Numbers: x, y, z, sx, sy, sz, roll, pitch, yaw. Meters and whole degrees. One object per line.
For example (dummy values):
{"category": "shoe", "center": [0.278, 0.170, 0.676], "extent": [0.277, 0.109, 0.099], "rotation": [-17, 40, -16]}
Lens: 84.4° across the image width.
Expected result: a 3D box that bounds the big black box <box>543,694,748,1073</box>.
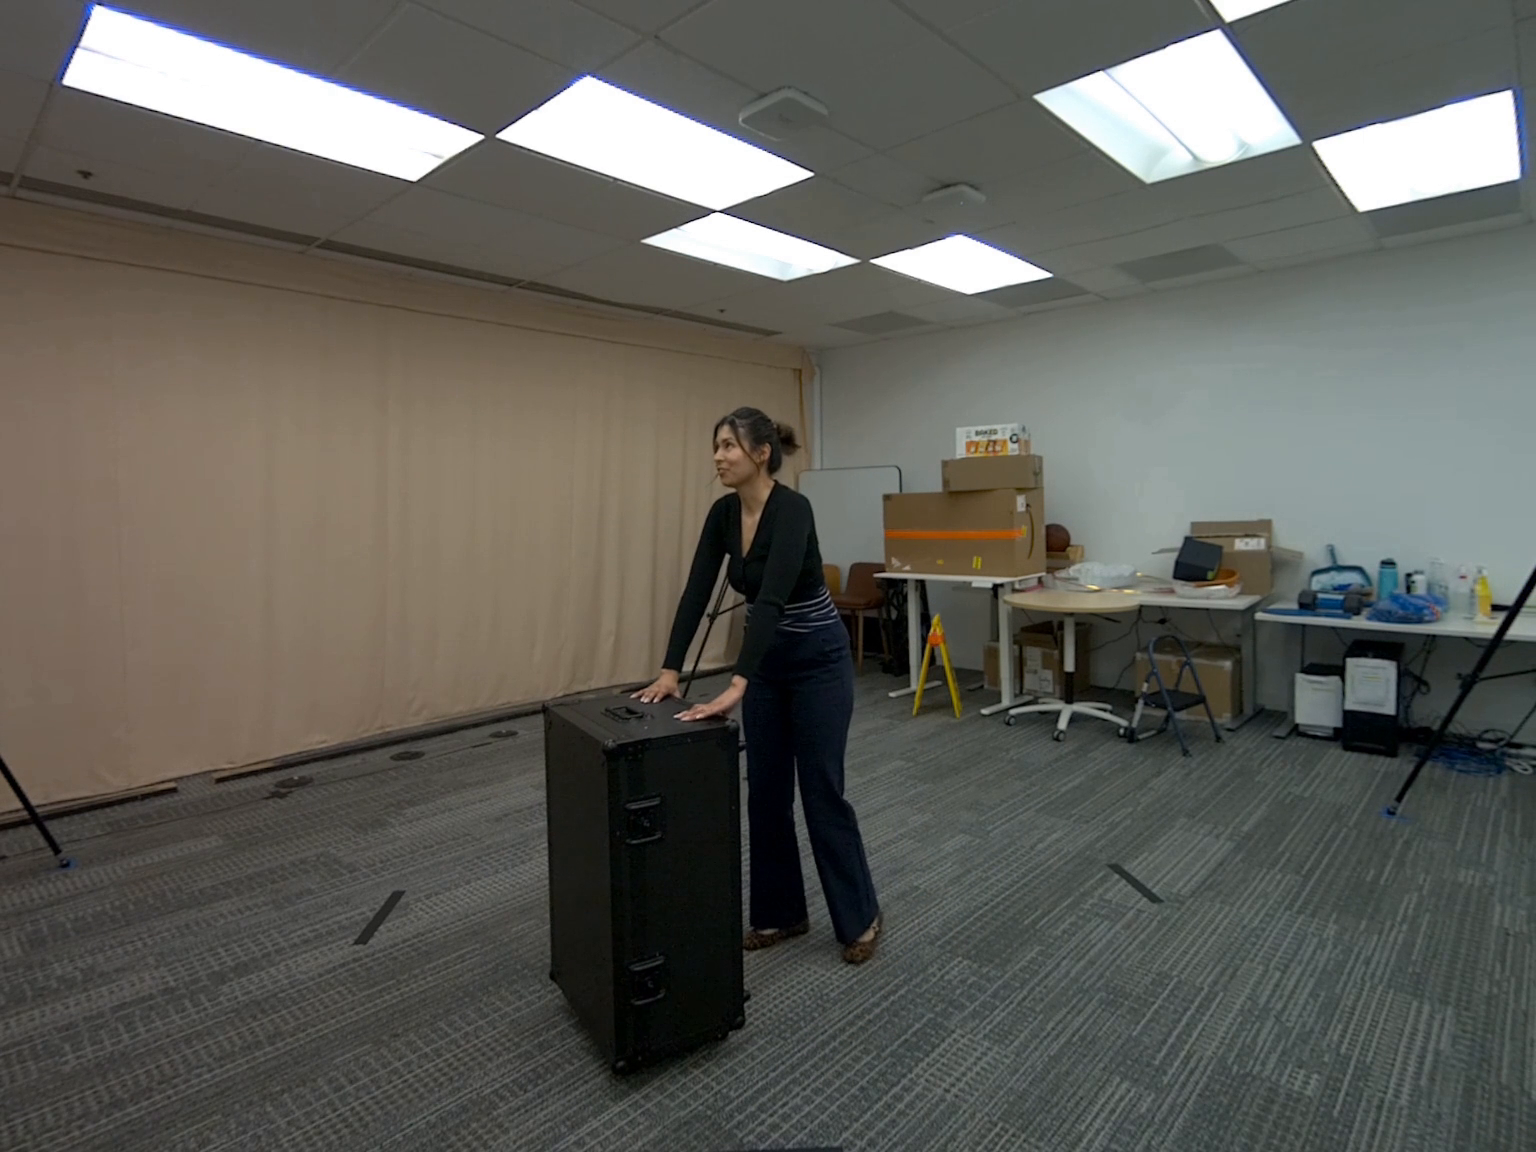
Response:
{"category": "big black box", "center": [-0.335, 0.783, 2.237], "extent": [0.385, 0.860, 0.536], "rotation": [-2, 3, -31]}
